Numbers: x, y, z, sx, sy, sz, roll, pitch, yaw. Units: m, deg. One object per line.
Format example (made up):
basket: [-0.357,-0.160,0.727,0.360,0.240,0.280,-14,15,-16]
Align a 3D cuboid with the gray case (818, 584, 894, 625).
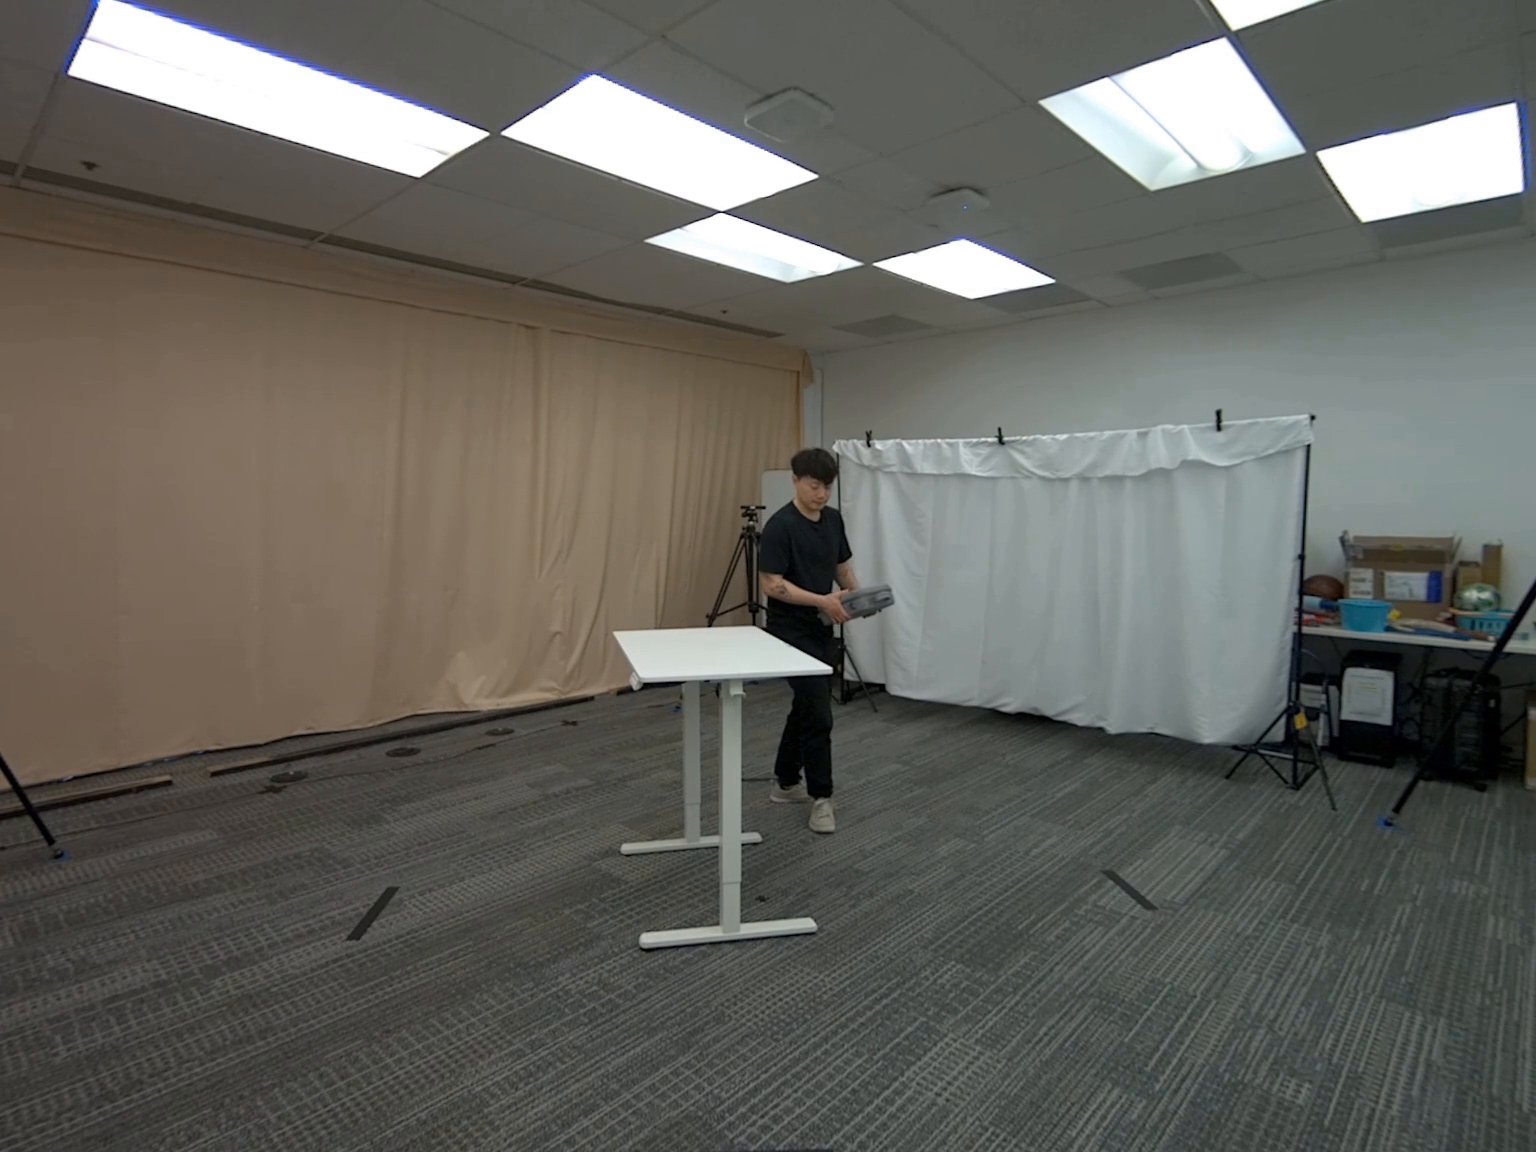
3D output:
gray case: [0.395,0.113,3.667,0.249,0.105,0.267,-10,-6,-45]
